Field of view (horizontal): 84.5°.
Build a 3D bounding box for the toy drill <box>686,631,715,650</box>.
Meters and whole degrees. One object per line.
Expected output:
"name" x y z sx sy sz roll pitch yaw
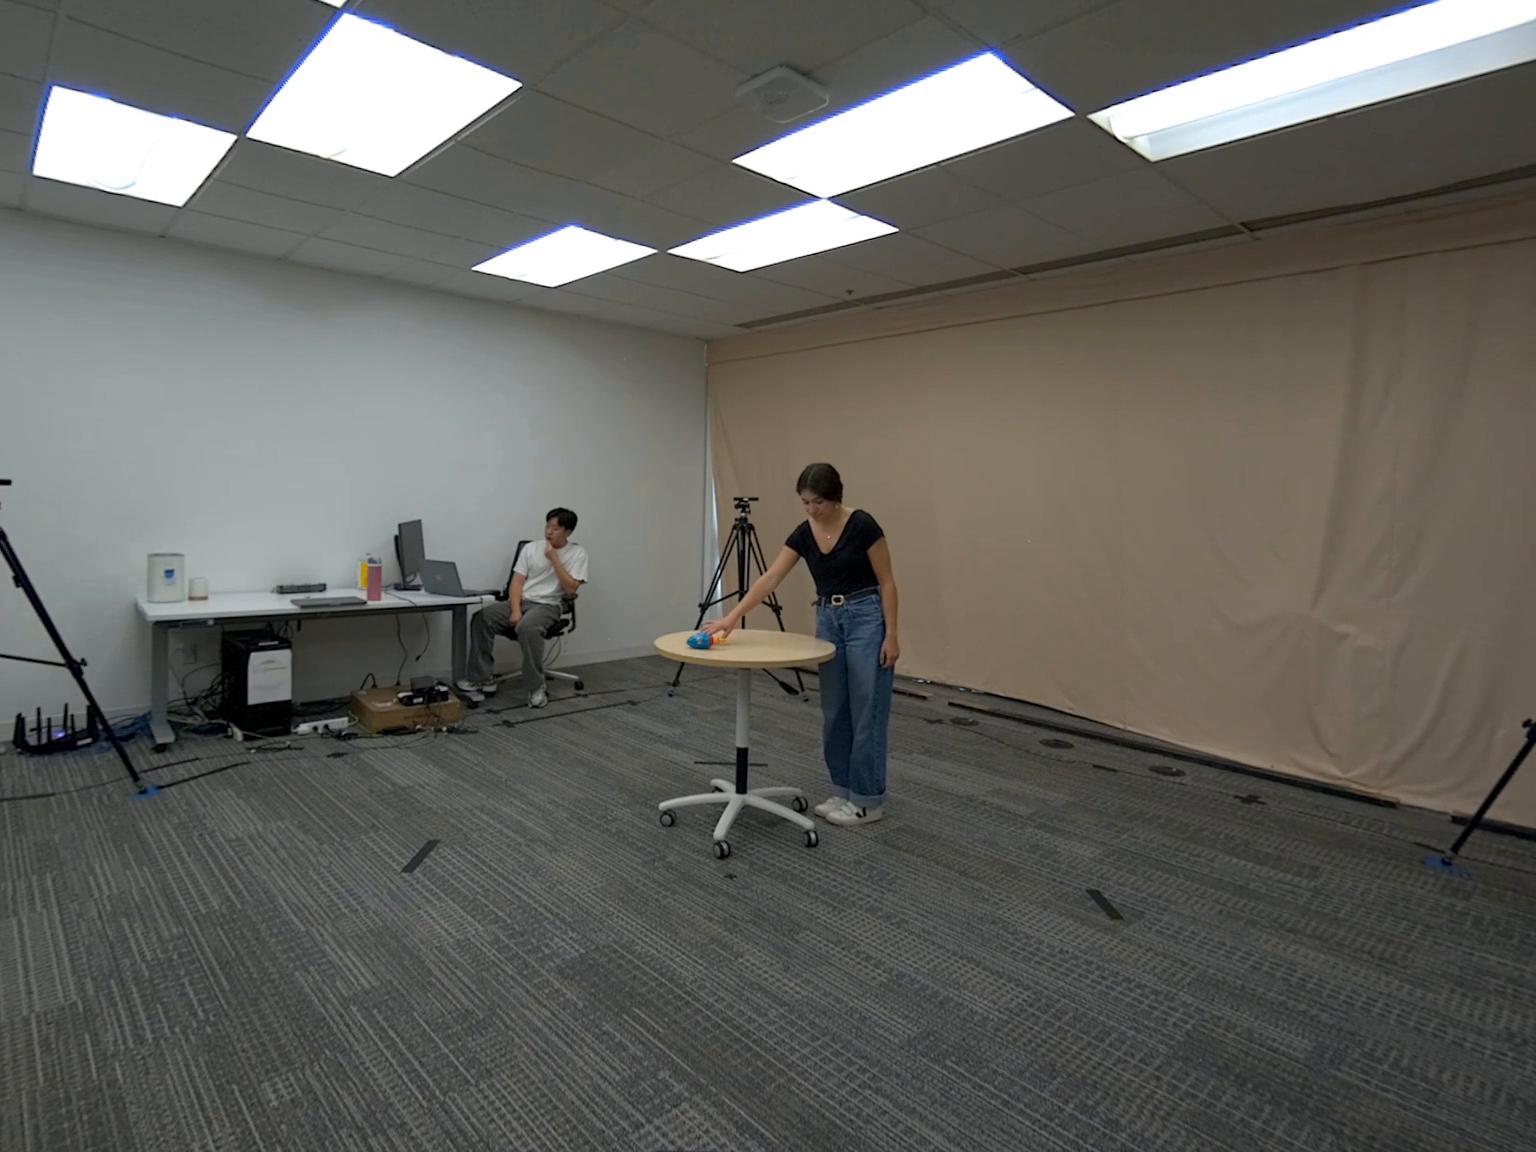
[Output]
"toy drill" -0.249 0.263 3.449 0.171 0.061 0.145 -6 3 12
